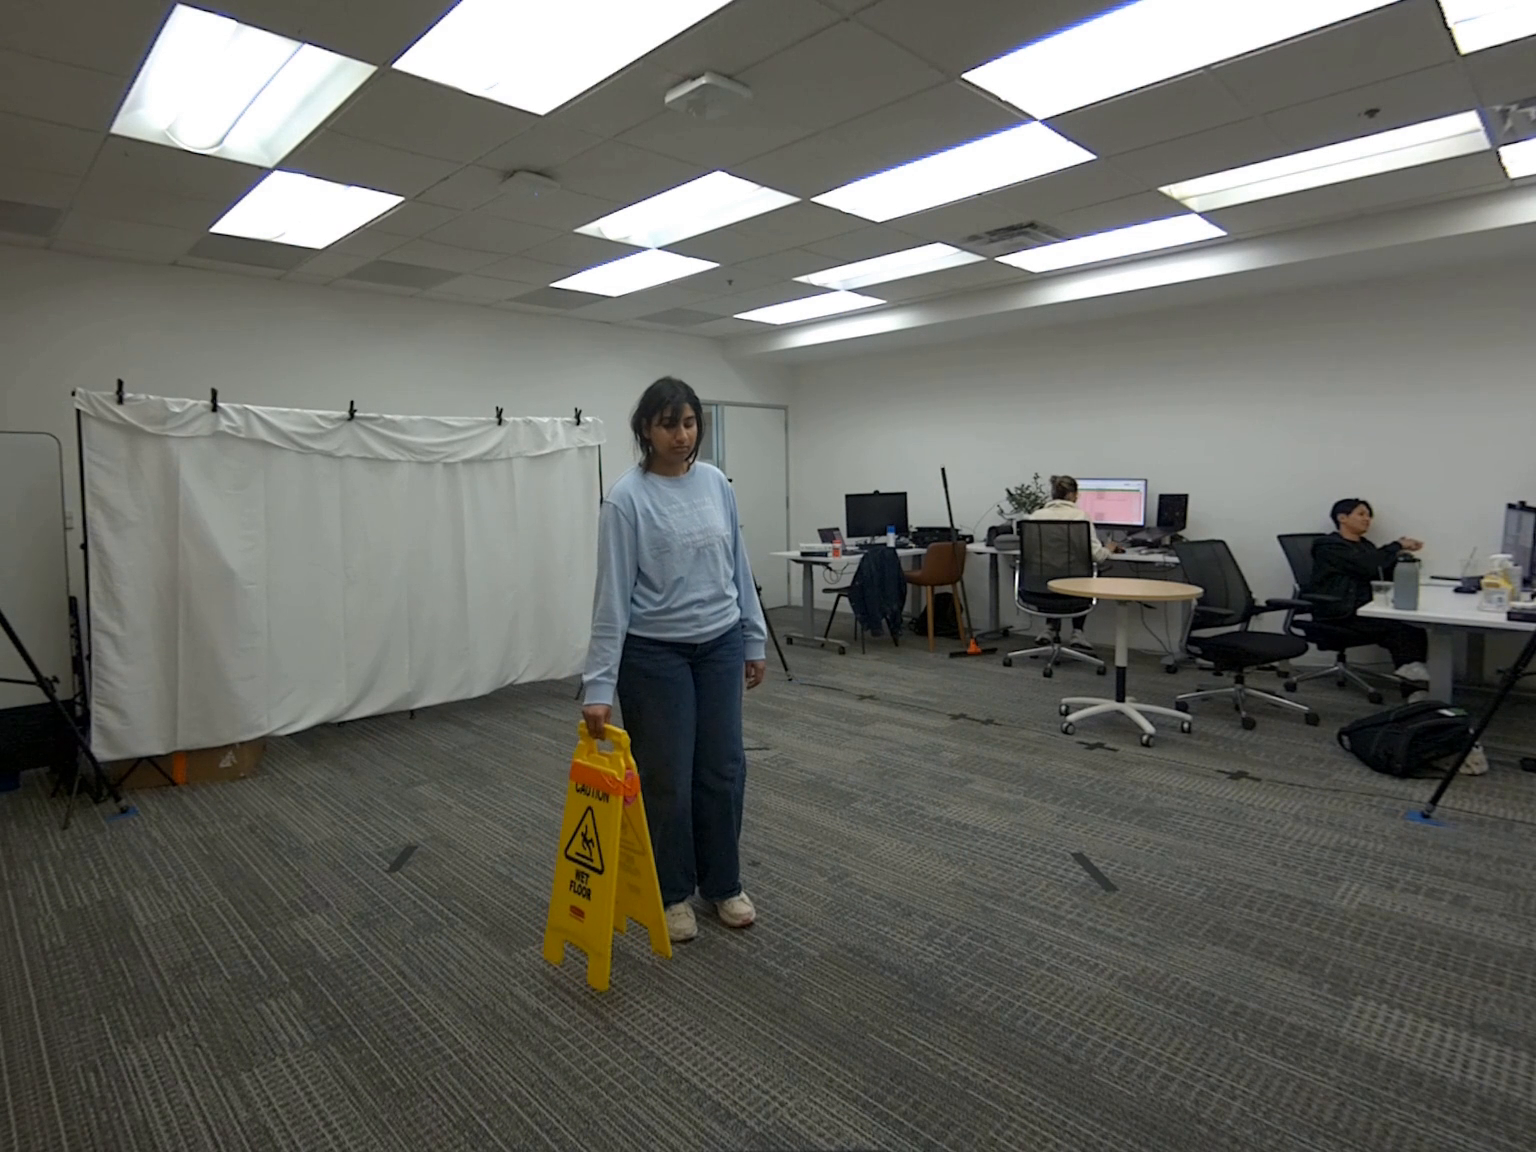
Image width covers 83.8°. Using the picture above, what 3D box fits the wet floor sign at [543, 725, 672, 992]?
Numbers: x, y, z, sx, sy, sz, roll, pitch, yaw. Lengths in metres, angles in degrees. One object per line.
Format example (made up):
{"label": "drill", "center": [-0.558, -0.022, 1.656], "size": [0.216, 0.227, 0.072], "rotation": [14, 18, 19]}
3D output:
{"label": "wet floor sign", "center": [-0.449, 0.742, 2.365], "size": [0.290, 0.646, 0.282], "rotation": [-1, 1, 43]}
